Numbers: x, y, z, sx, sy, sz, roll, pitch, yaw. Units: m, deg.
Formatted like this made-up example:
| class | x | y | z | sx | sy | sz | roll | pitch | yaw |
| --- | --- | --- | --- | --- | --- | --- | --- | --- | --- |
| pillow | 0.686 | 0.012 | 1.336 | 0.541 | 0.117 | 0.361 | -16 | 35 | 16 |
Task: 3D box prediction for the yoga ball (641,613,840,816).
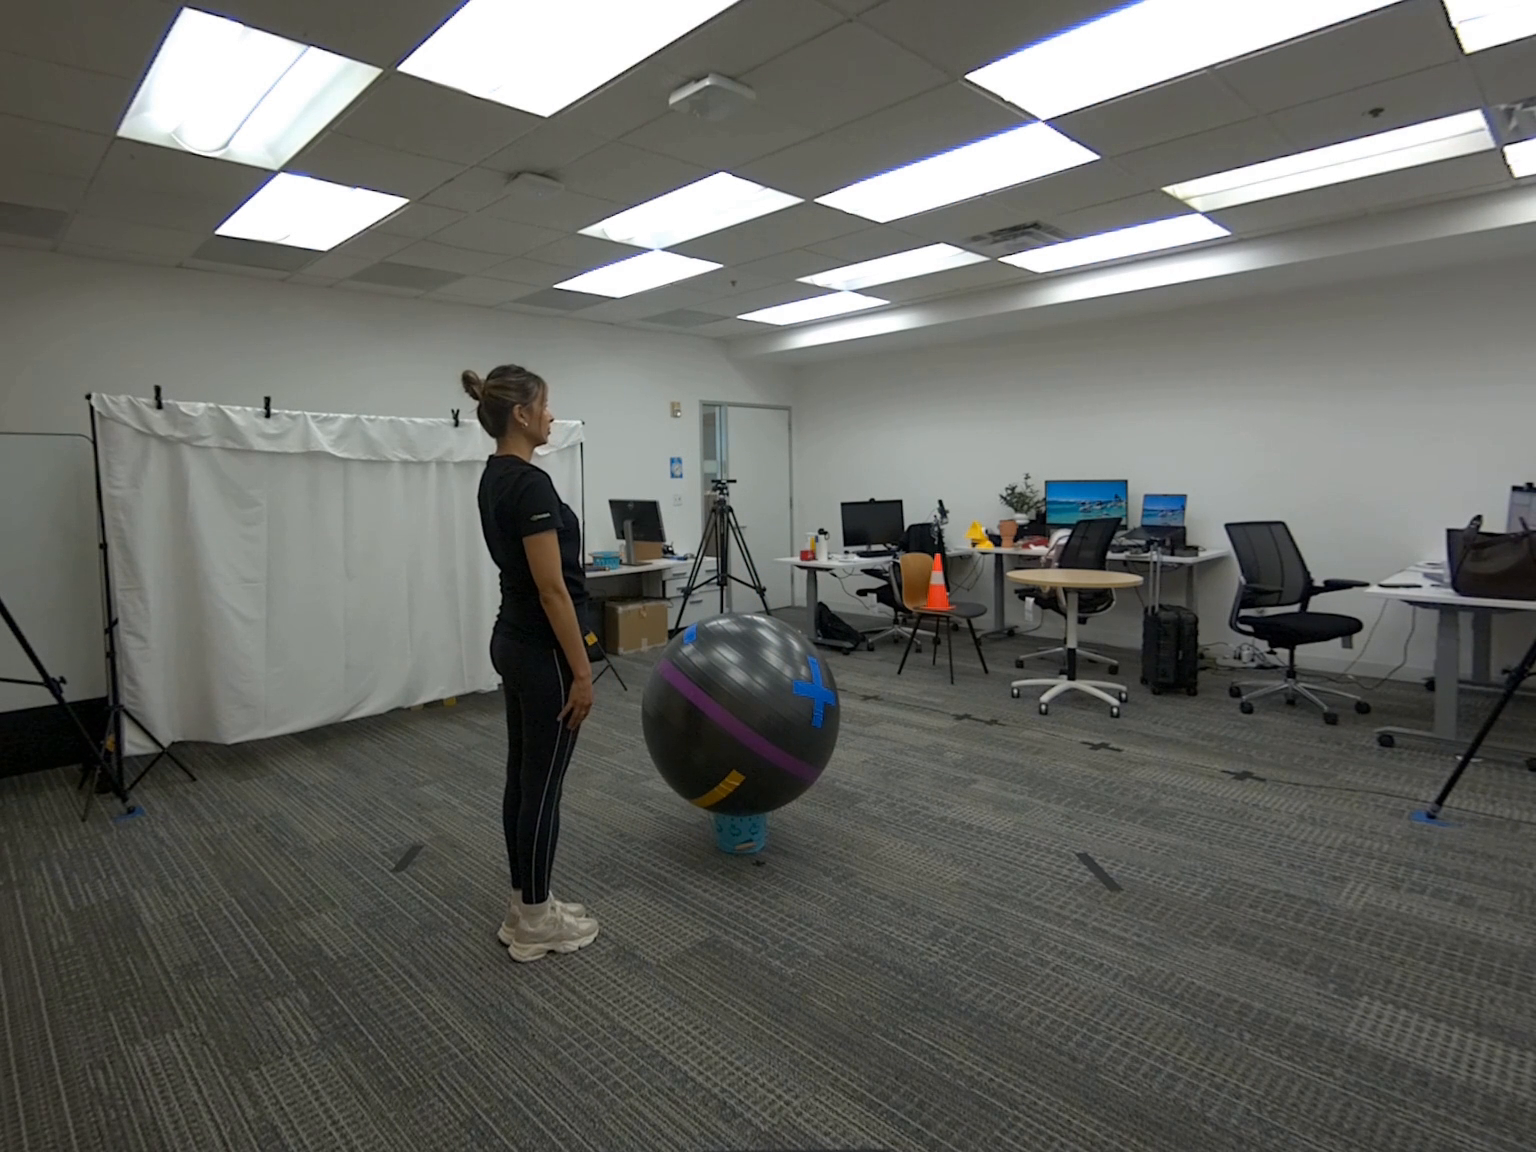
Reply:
| class | x | y | z | sx | sy | sz | roll | pitch | yaw |
| --- | --- | --- | --- | --- | --- | --- | --- | --- | --- |
| yoga ball | -0.103 | 0.518 | 3.266 | 0.757 | 0.755 | 0.762 | -1 | 5 | -2 |
